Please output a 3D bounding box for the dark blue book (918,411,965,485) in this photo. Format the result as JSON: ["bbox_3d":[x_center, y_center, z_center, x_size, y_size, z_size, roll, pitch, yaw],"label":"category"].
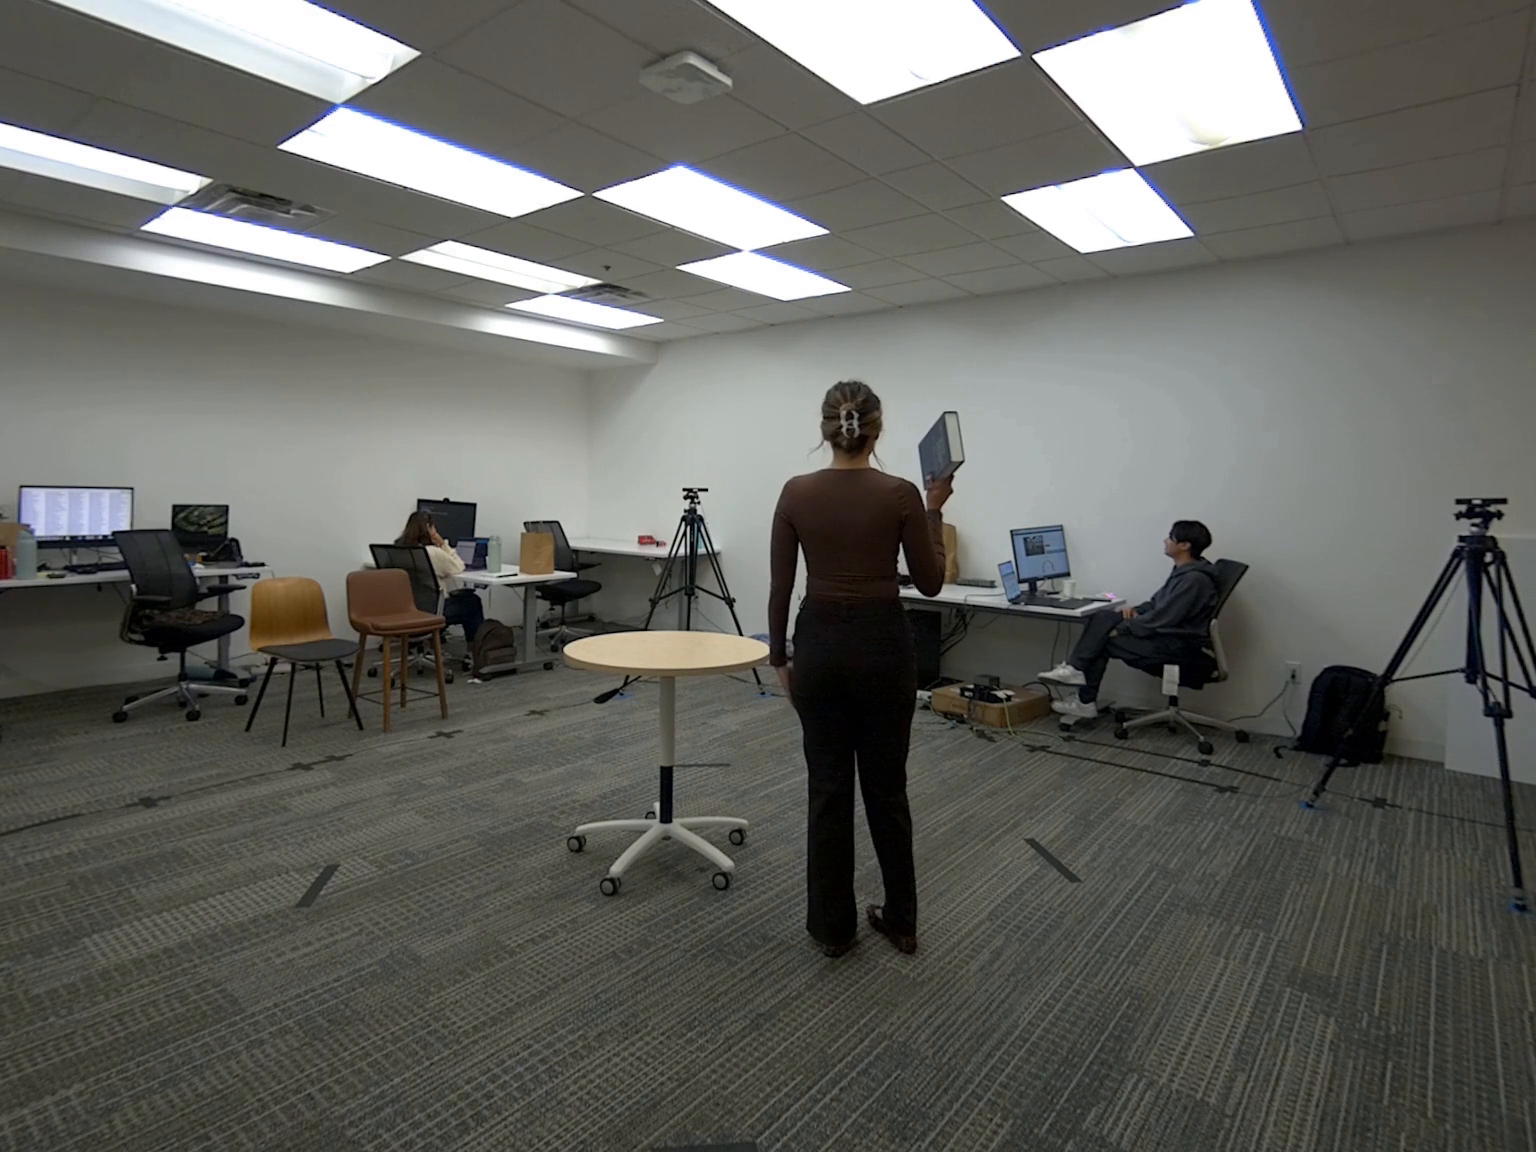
[{"bbox_3d":[0.518,-0.379,2.600,0.045,0.166,0.243,-3,-15,-8],"label":"dark blue book"}]
